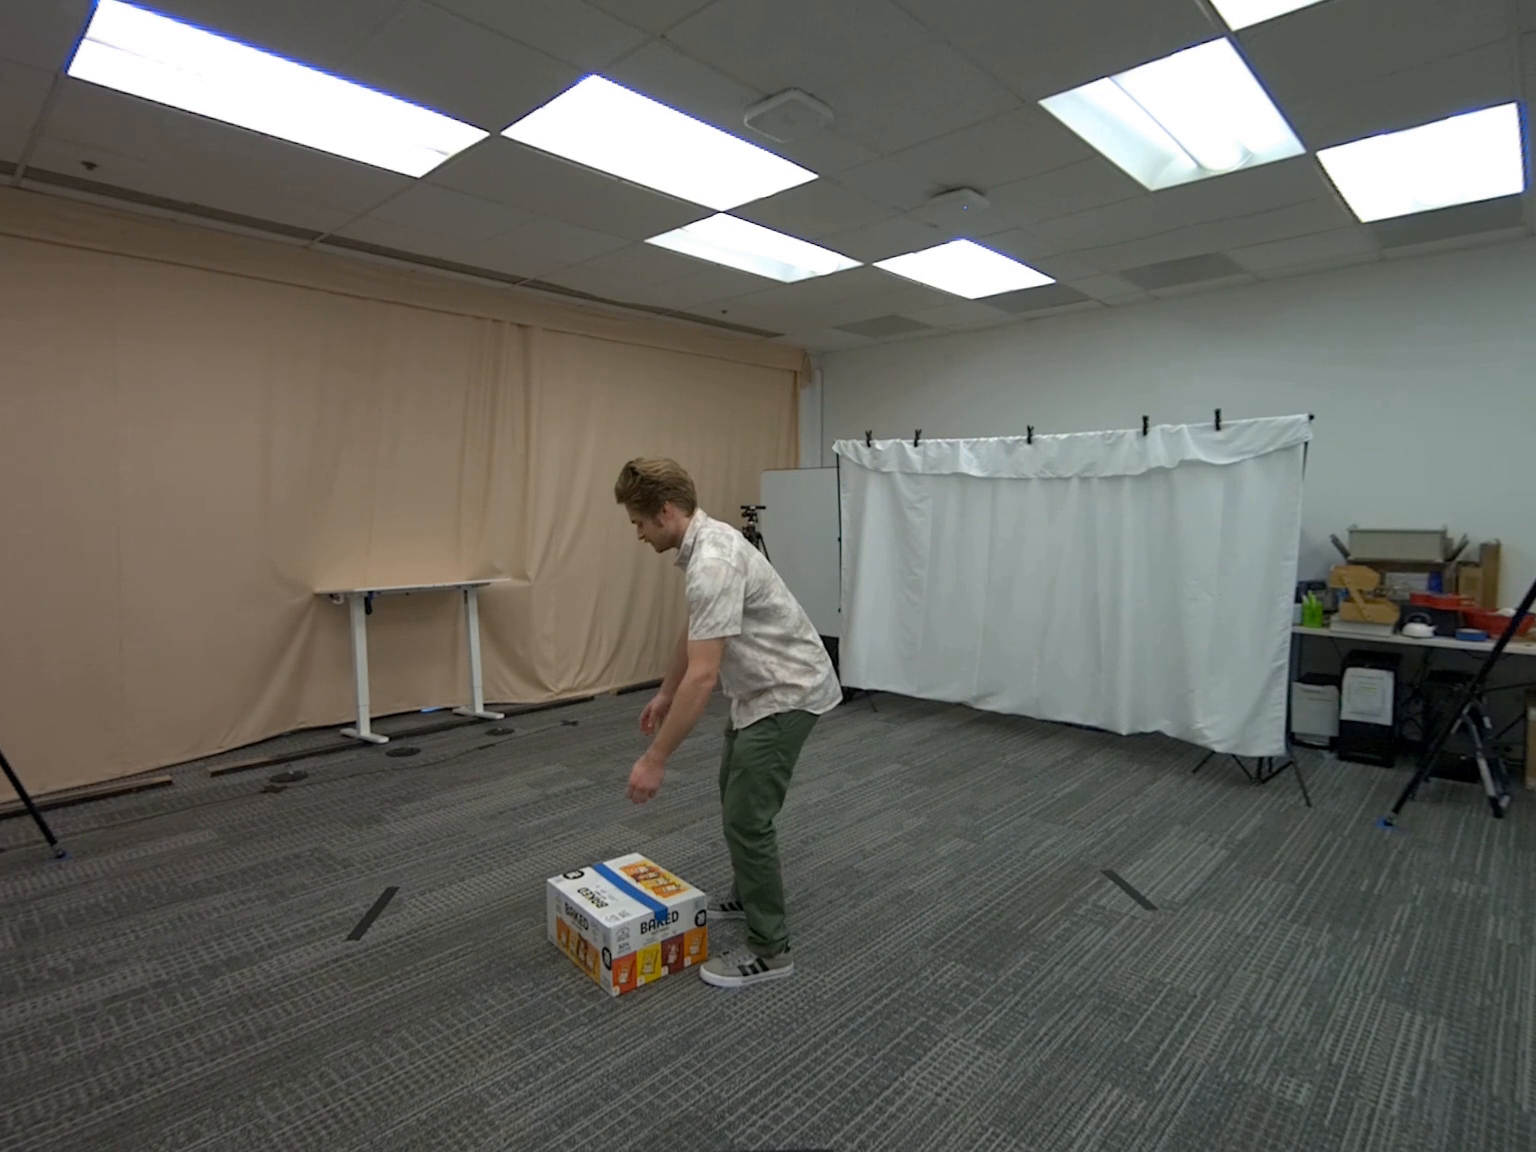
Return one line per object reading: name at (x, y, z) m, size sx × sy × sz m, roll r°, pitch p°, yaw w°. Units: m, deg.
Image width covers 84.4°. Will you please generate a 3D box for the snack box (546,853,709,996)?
snack box at (-0.446, 1.077, 2.635) m, size 0.330 × 0.205 × 0.418 m, roll -3°, pitch 5°, yaw -39°
